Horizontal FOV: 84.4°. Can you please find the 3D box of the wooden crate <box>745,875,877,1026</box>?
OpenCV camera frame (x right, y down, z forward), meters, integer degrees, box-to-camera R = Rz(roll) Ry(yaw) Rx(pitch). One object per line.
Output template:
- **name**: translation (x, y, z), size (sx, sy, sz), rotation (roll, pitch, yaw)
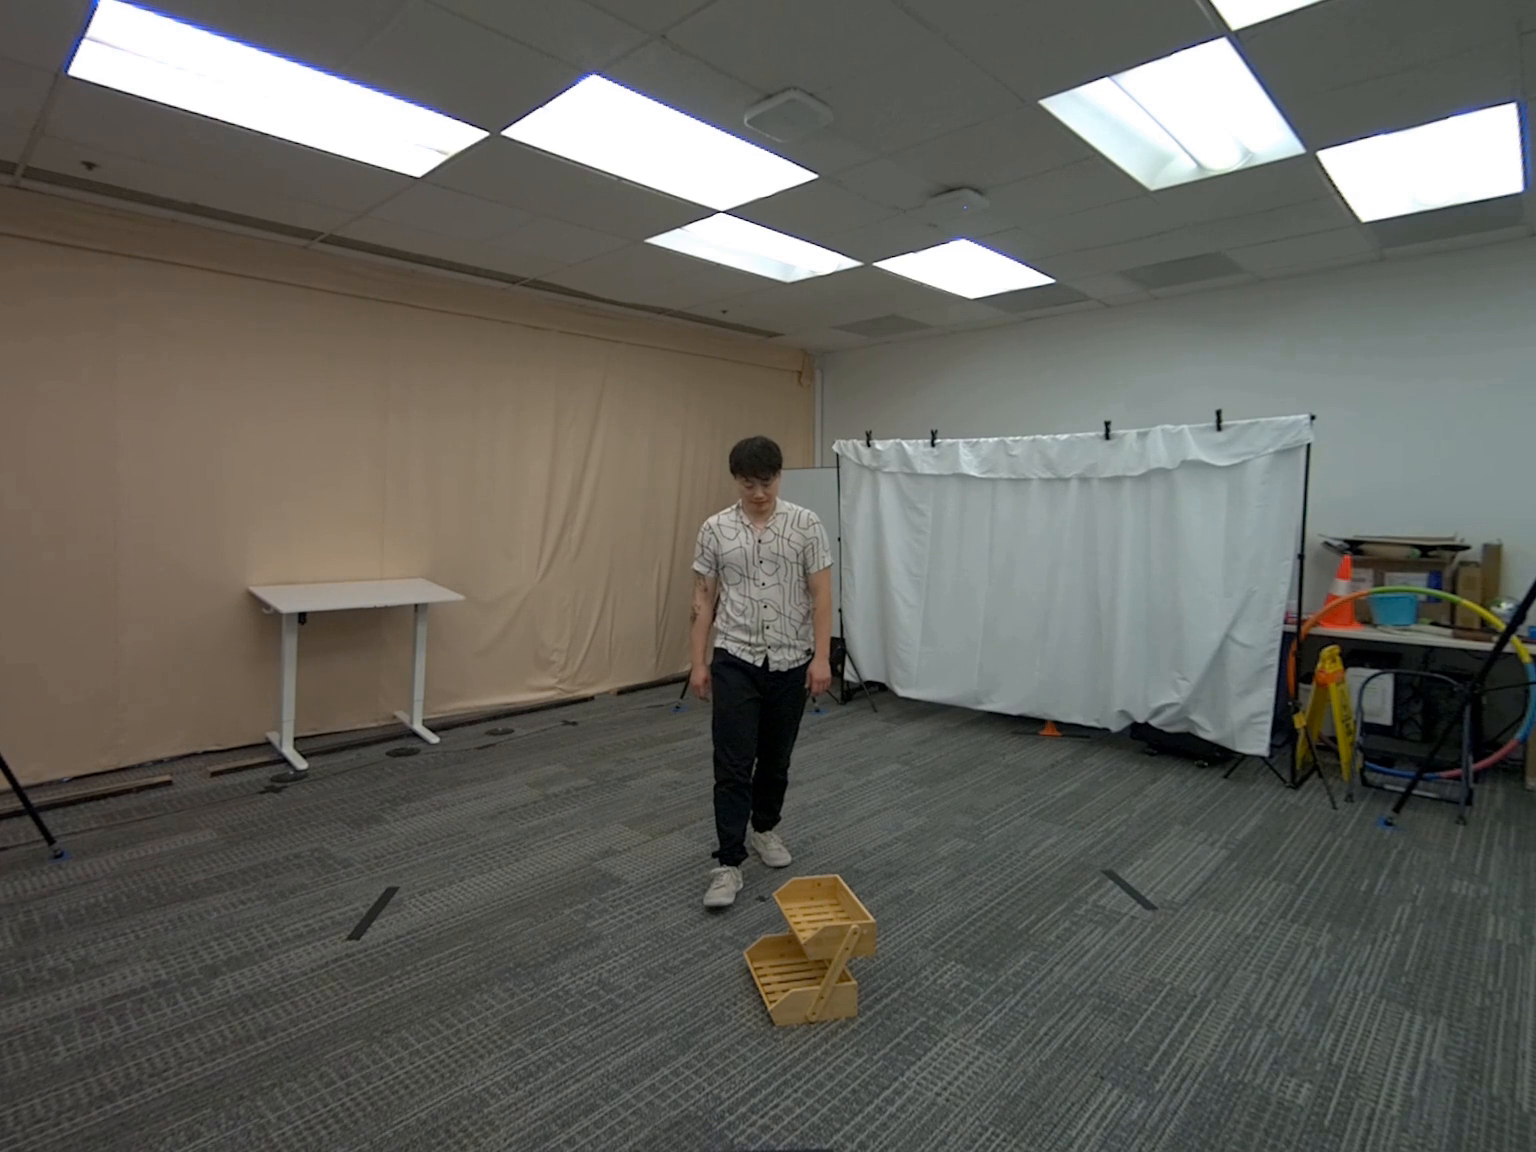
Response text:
- **wooden crate**: translation (0.108, 1.059, 2.407), size (0.298, 0.273, 0.330), rotation (0, 4, -14)
